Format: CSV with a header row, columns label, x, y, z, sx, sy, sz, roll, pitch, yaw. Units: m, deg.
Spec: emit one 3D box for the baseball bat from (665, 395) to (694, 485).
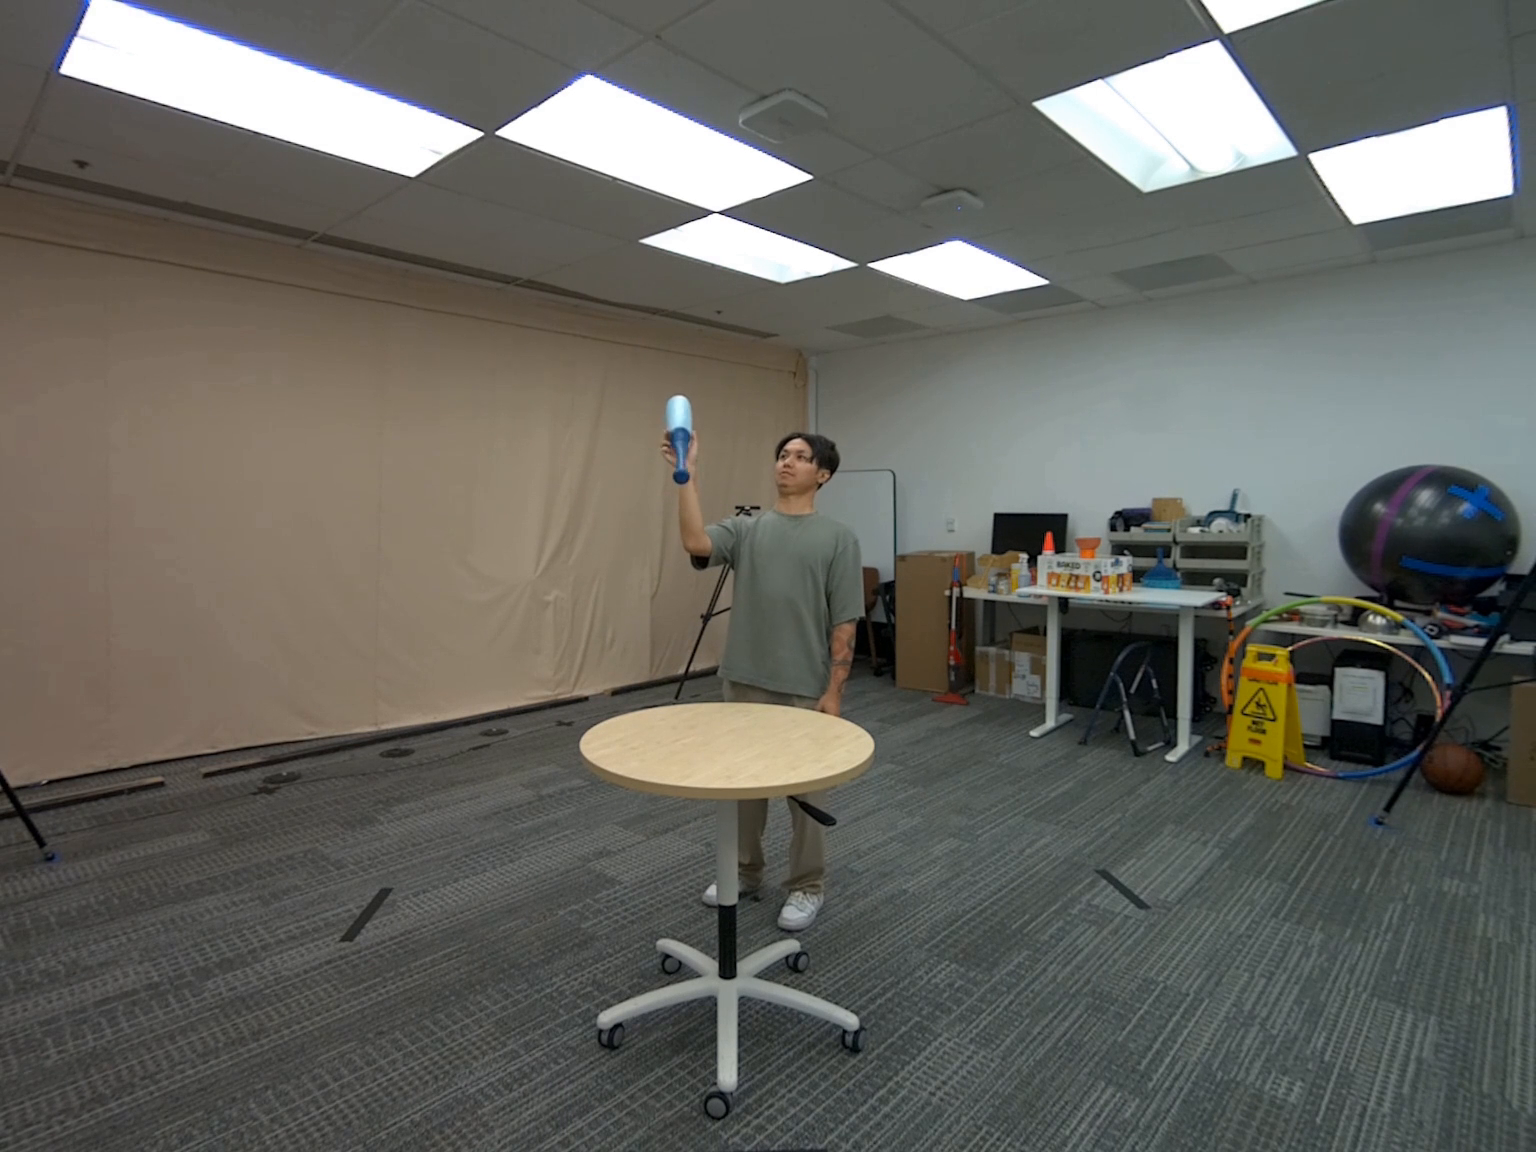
label,x,y,z,sx,sy,sz,roll,pitch,yaw
baseball bat,-0.266,-0.436,2.679,0.088,0.088,0.555,-1,35,-8
